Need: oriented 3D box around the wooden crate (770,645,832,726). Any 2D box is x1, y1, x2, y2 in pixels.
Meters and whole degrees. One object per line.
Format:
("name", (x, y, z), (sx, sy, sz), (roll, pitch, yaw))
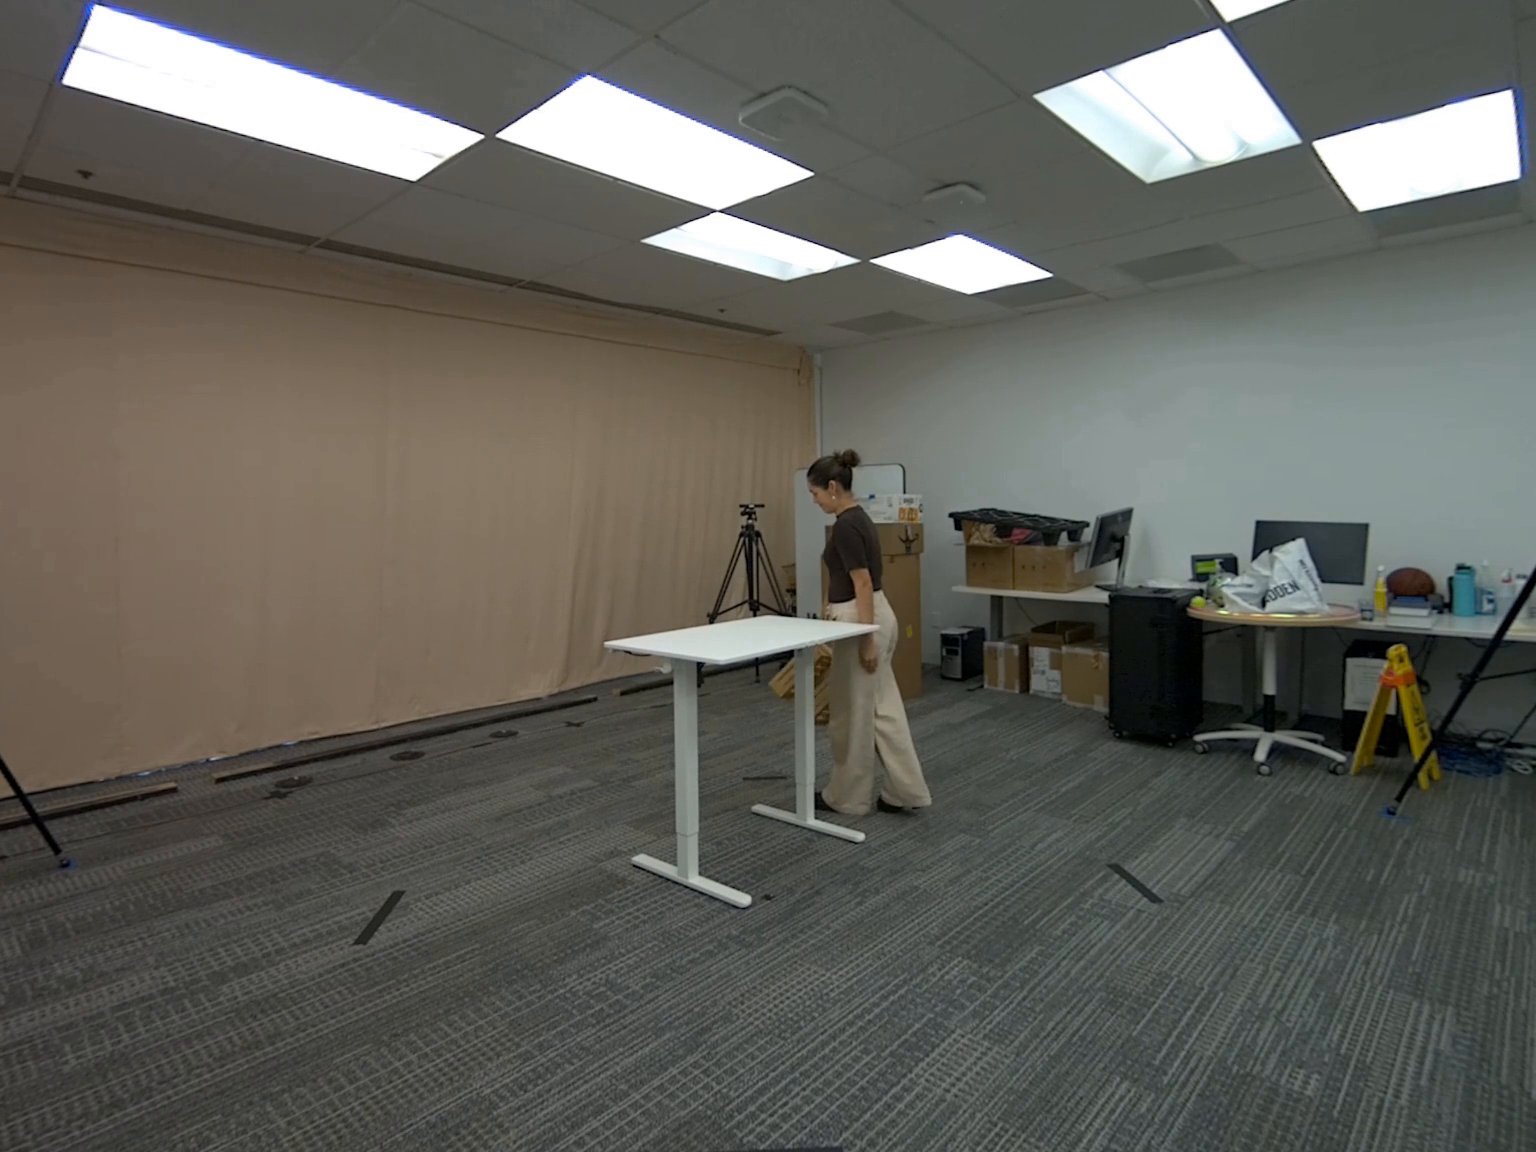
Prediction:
("wooden crate", (0.239, 0.515, 4.066), (0.281, 0.326, 0.292), (52, 17, 27))
